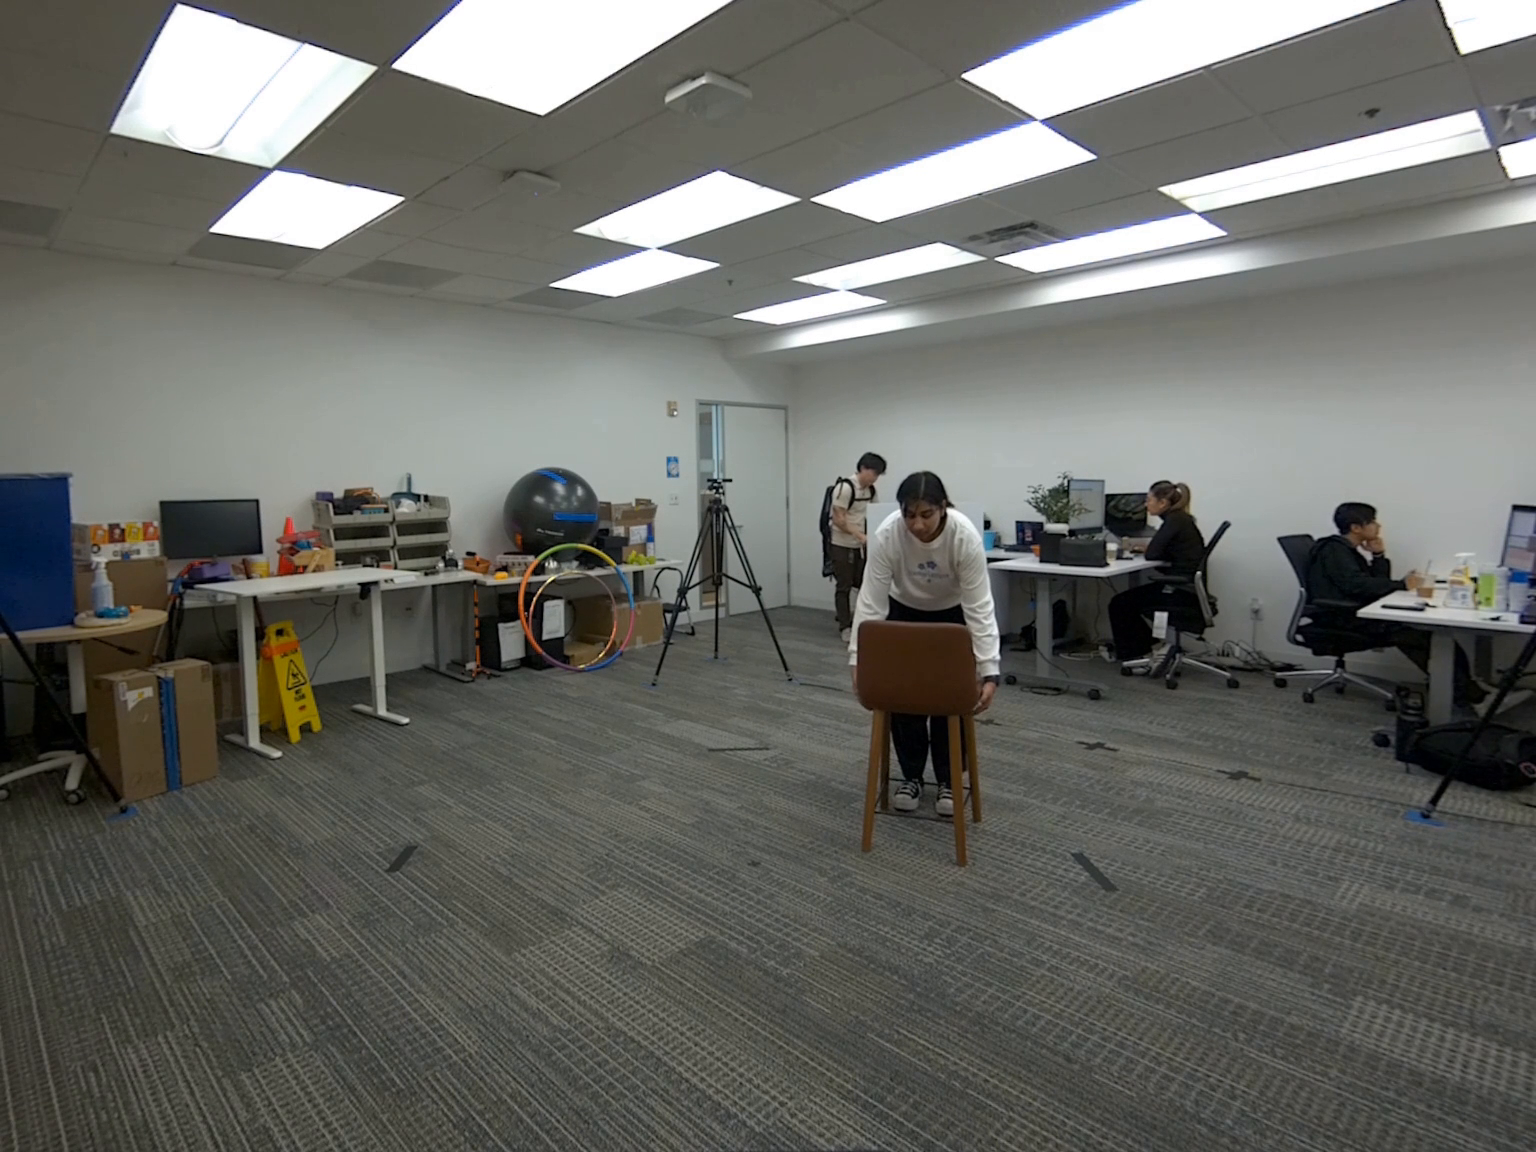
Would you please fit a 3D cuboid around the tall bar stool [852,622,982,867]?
[{"bbox_3d":[0.593,0.579,3.306,0.466,0.886,0.460,1,5,22],"label":"tall bar stool"}]
